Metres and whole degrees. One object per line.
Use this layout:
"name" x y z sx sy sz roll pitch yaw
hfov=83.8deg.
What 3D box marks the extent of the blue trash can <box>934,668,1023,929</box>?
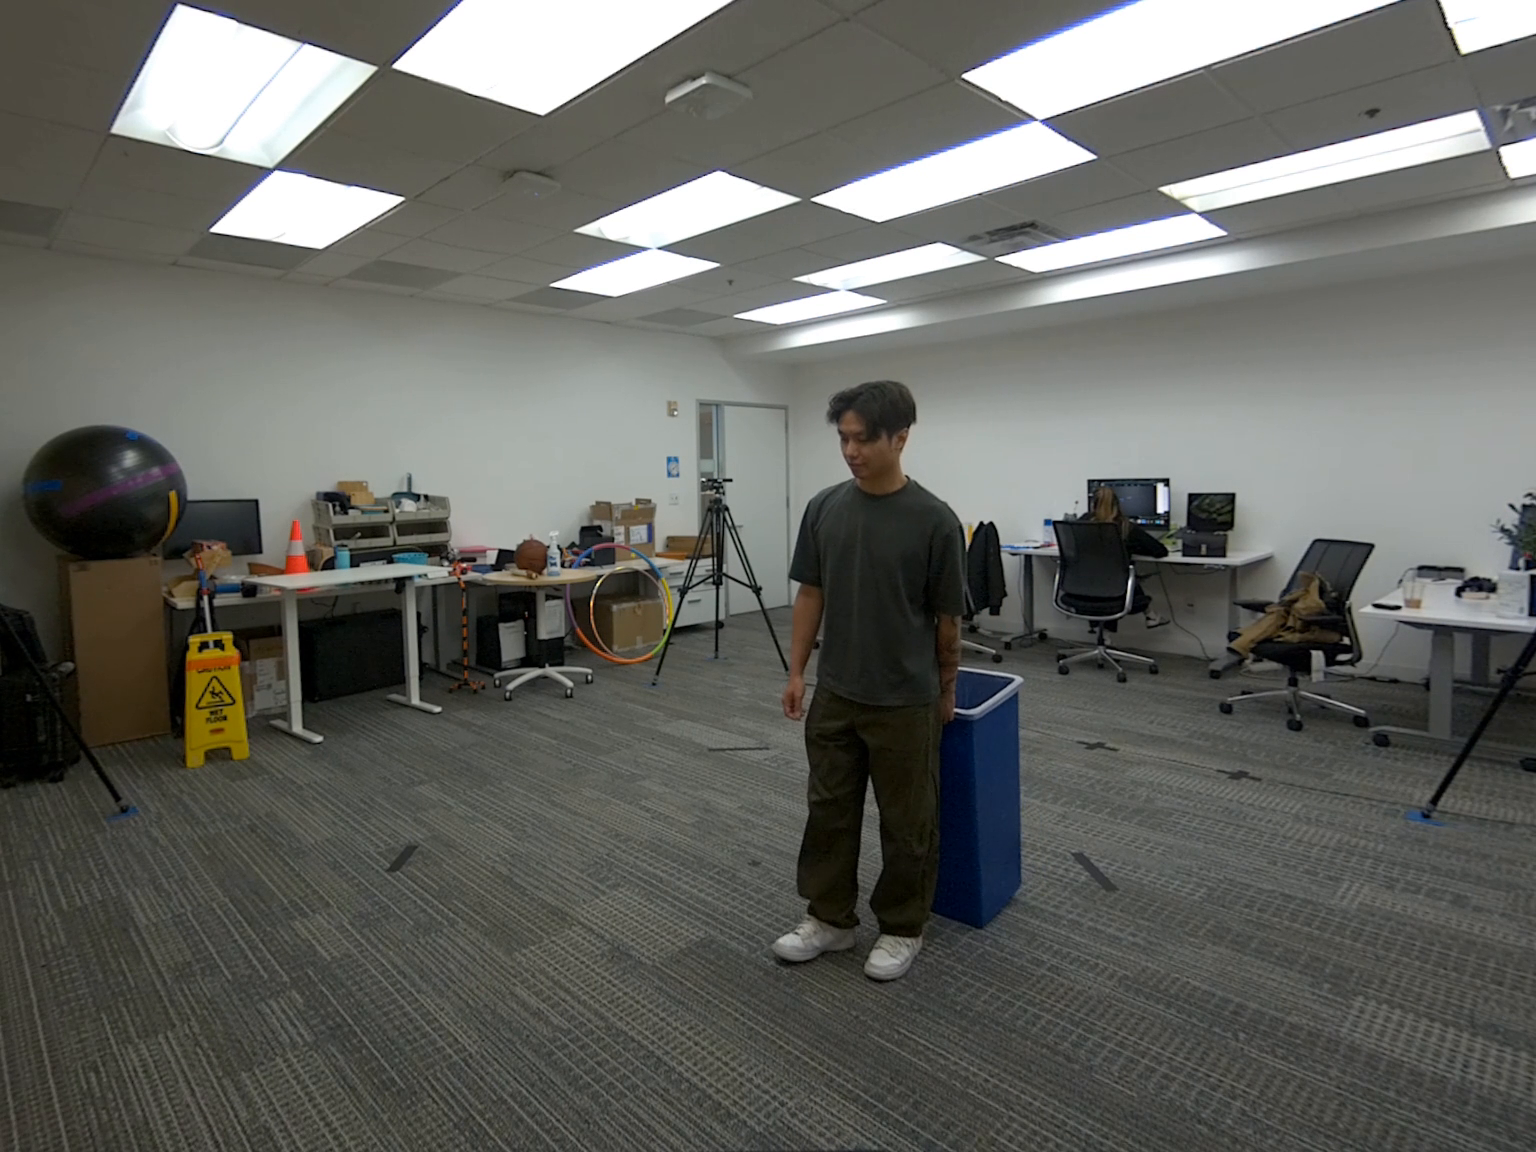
"blue trash can" 0.620 0.700 2.773 0.385 0.708 0.370 1 11 41
